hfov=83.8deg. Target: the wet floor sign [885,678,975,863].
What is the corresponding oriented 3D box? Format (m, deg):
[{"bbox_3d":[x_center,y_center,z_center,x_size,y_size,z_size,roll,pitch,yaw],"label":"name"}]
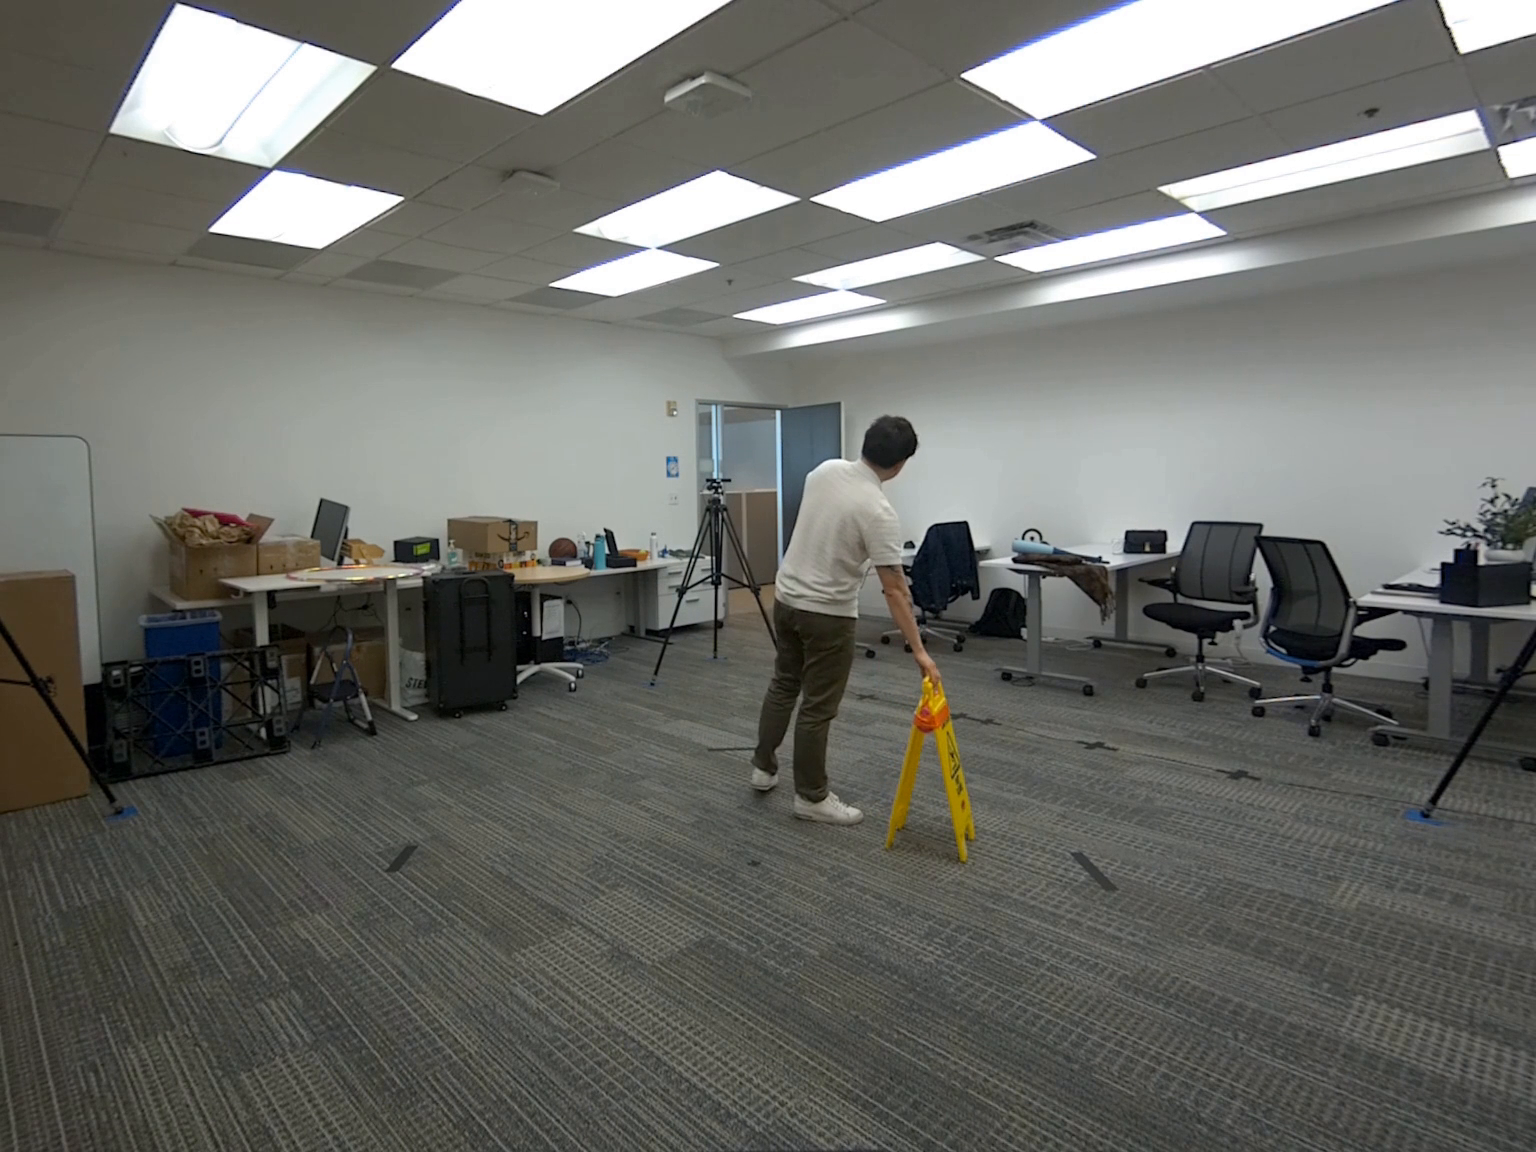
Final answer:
[{"bbox_3d":[0.618,0.695,3.247,0.296,0.644,0.277,0,3,24],"label":"wet floor sign"}]
